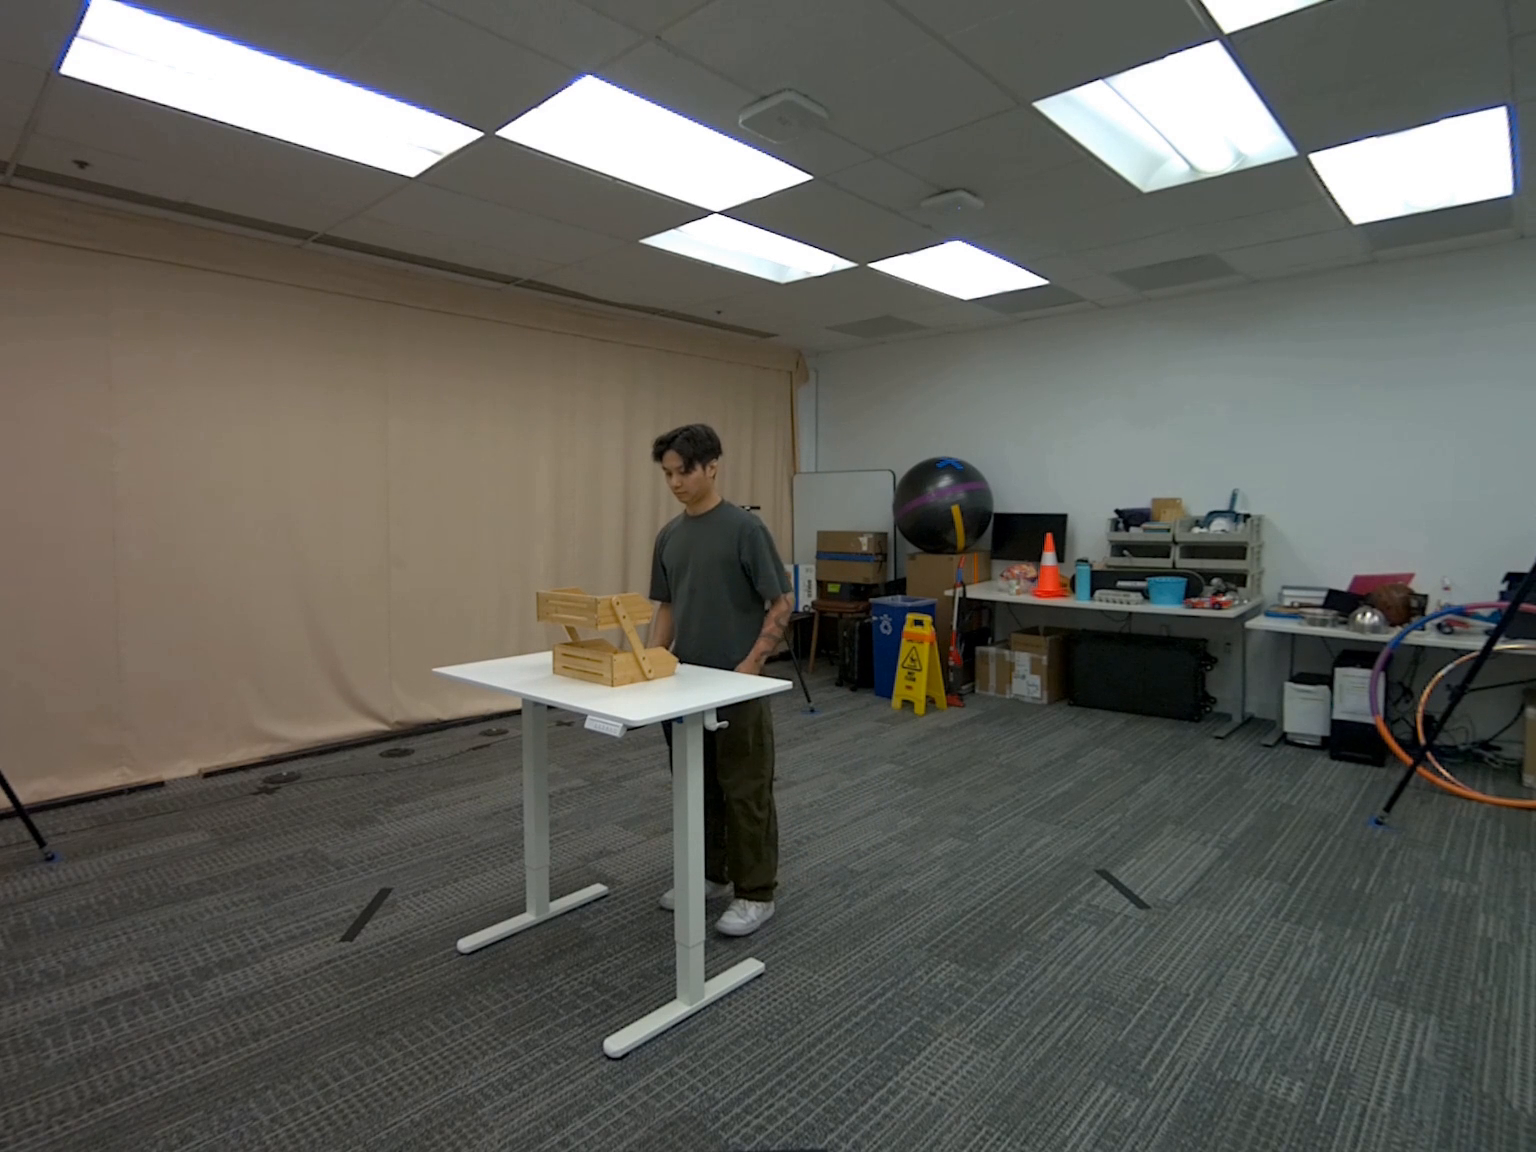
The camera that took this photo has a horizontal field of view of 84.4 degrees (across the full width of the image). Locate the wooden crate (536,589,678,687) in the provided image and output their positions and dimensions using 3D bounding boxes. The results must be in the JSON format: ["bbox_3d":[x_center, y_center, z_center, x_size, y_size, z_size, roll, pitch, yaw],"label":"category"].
[{"bbox_3d":[-0.483,0.169,2.543,0.335,0.273,0.293,2,5,43],"label":"wooden crate"}]
